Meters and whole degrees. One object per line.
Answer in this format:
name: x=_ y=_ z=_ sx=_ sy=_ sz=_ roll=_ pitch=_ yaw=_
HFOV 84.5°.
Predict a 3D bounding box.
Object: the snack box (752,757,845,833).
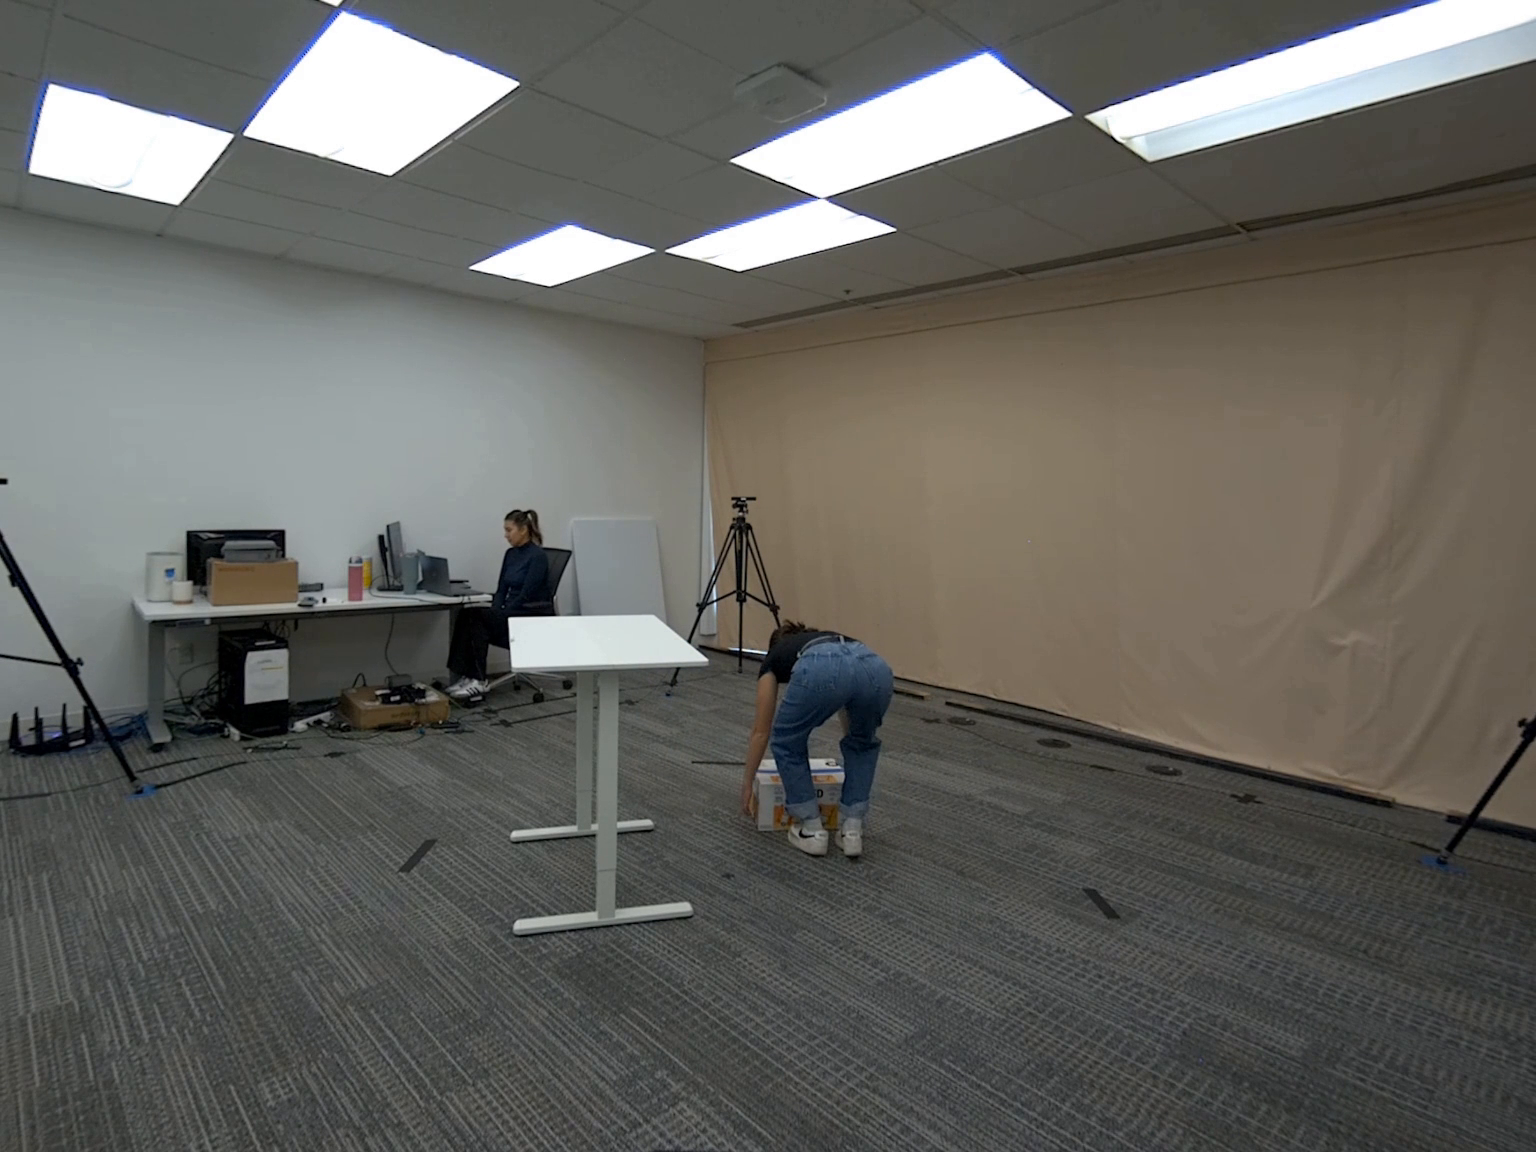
snack box: x=0.125 y=0.960 z=3.719 sx=0.402 sy=0.205 sz=0.343 roll=1 pitch=4 yaw=-9
